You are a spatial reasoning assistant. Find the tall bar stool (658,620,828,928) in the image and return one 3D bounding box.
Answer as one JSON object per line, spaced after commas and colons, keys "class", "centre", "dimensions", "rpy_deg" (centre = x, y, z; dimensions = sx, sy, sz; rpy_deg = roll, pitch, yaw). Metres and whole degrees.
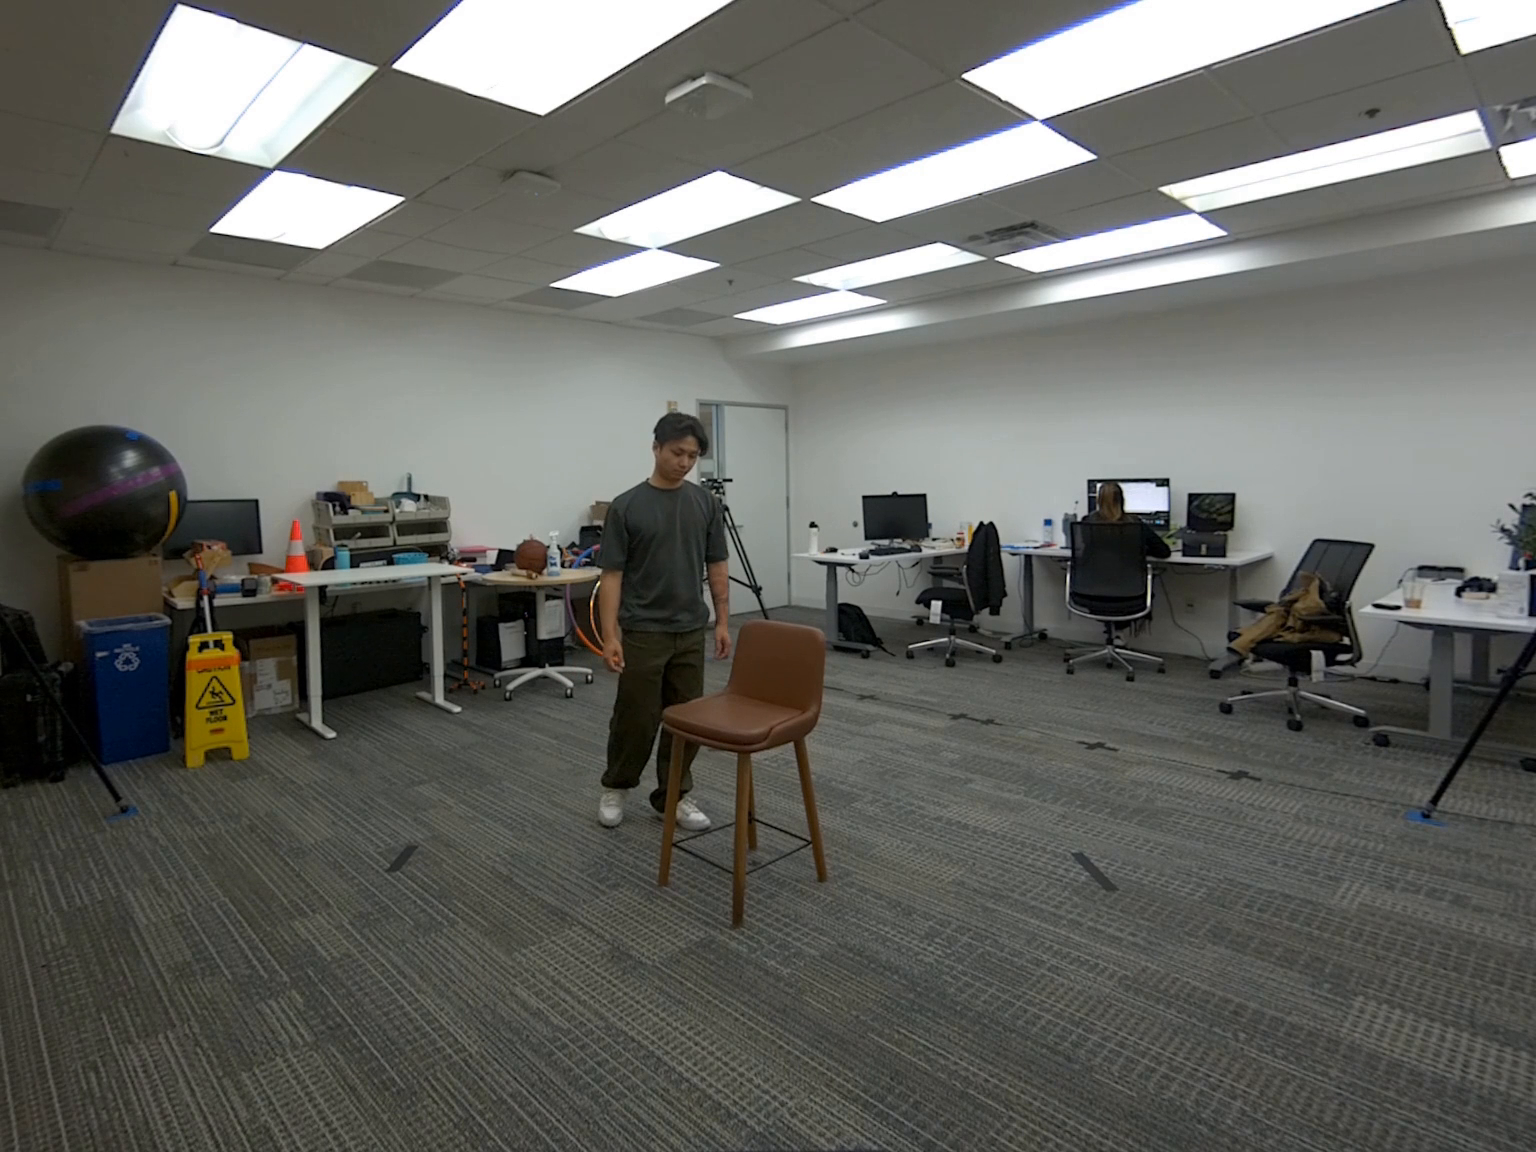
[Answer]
{"class": "tall bar stool", "centre": [-0.079, 0.631, 2.928], "dimensions": [0.455, 0.887, 0.470], "rpy_deg": [-3, 5, -44]}
